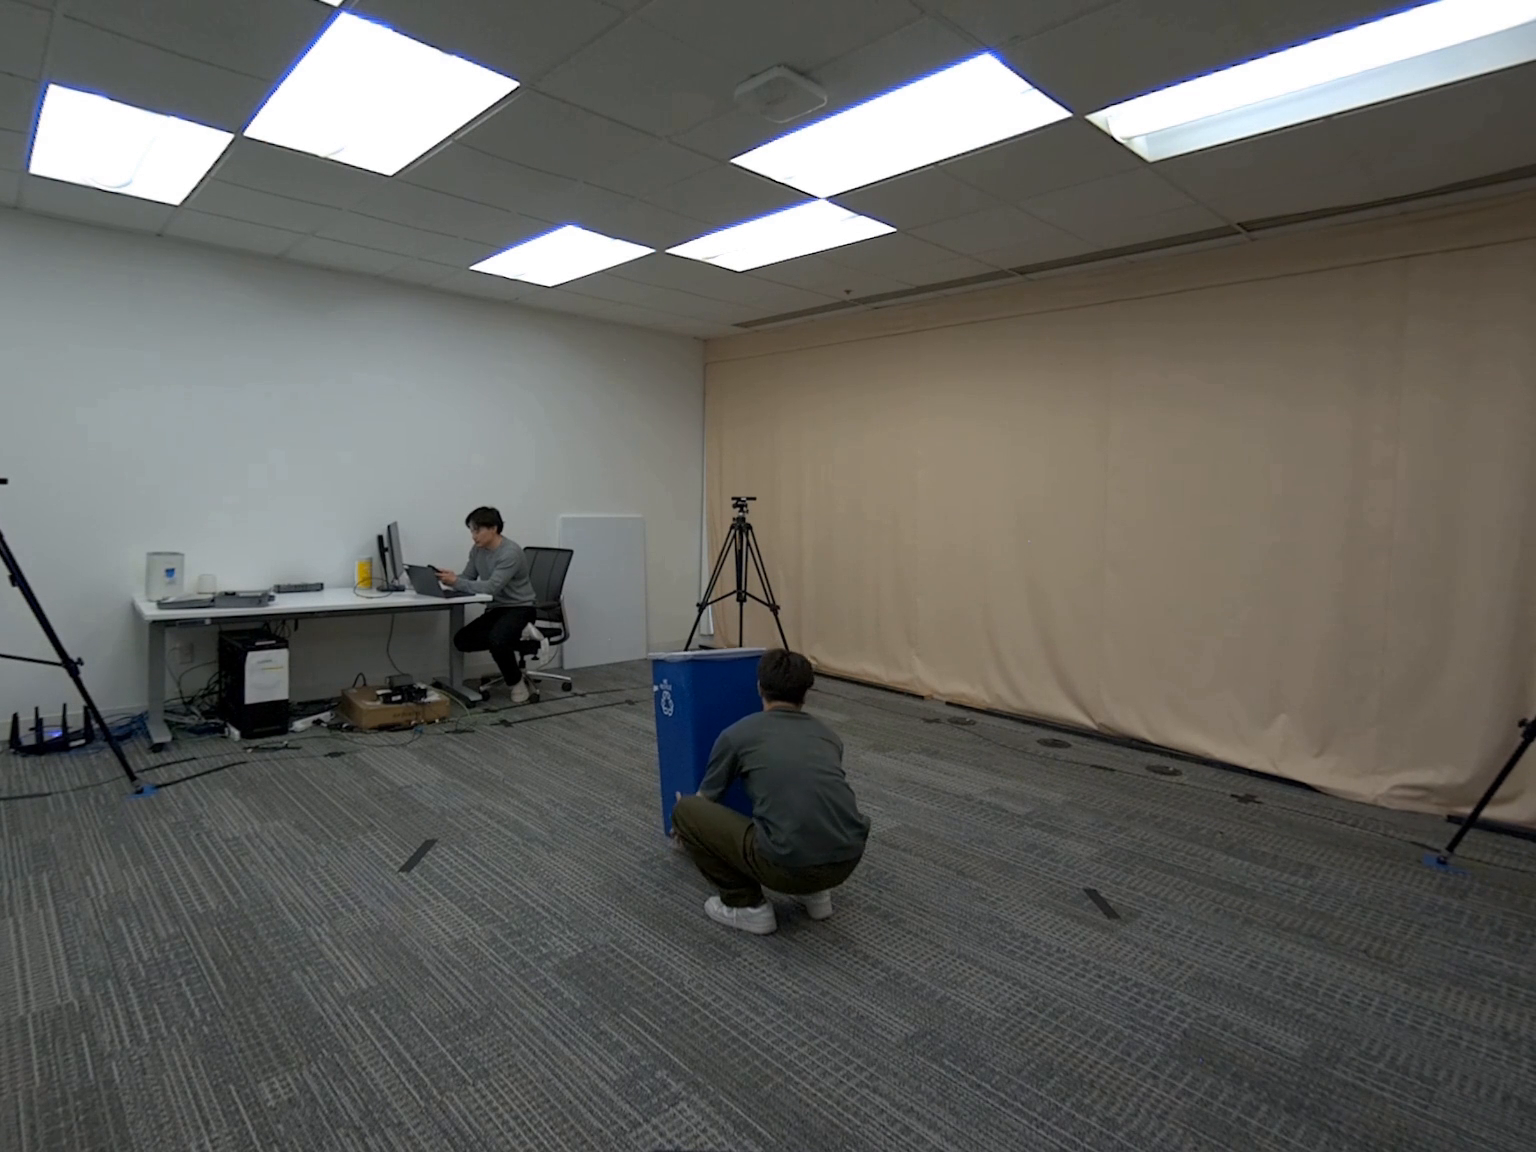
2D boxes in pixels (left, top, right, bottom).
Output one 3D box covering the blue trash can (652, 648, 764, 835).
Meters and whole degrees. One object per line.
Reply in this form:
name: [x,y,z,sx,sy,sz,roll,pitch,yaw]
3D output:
blue trash can: [-0.234,0.643,3.302,0.366,0.717,0.384,1,-7,-31]
